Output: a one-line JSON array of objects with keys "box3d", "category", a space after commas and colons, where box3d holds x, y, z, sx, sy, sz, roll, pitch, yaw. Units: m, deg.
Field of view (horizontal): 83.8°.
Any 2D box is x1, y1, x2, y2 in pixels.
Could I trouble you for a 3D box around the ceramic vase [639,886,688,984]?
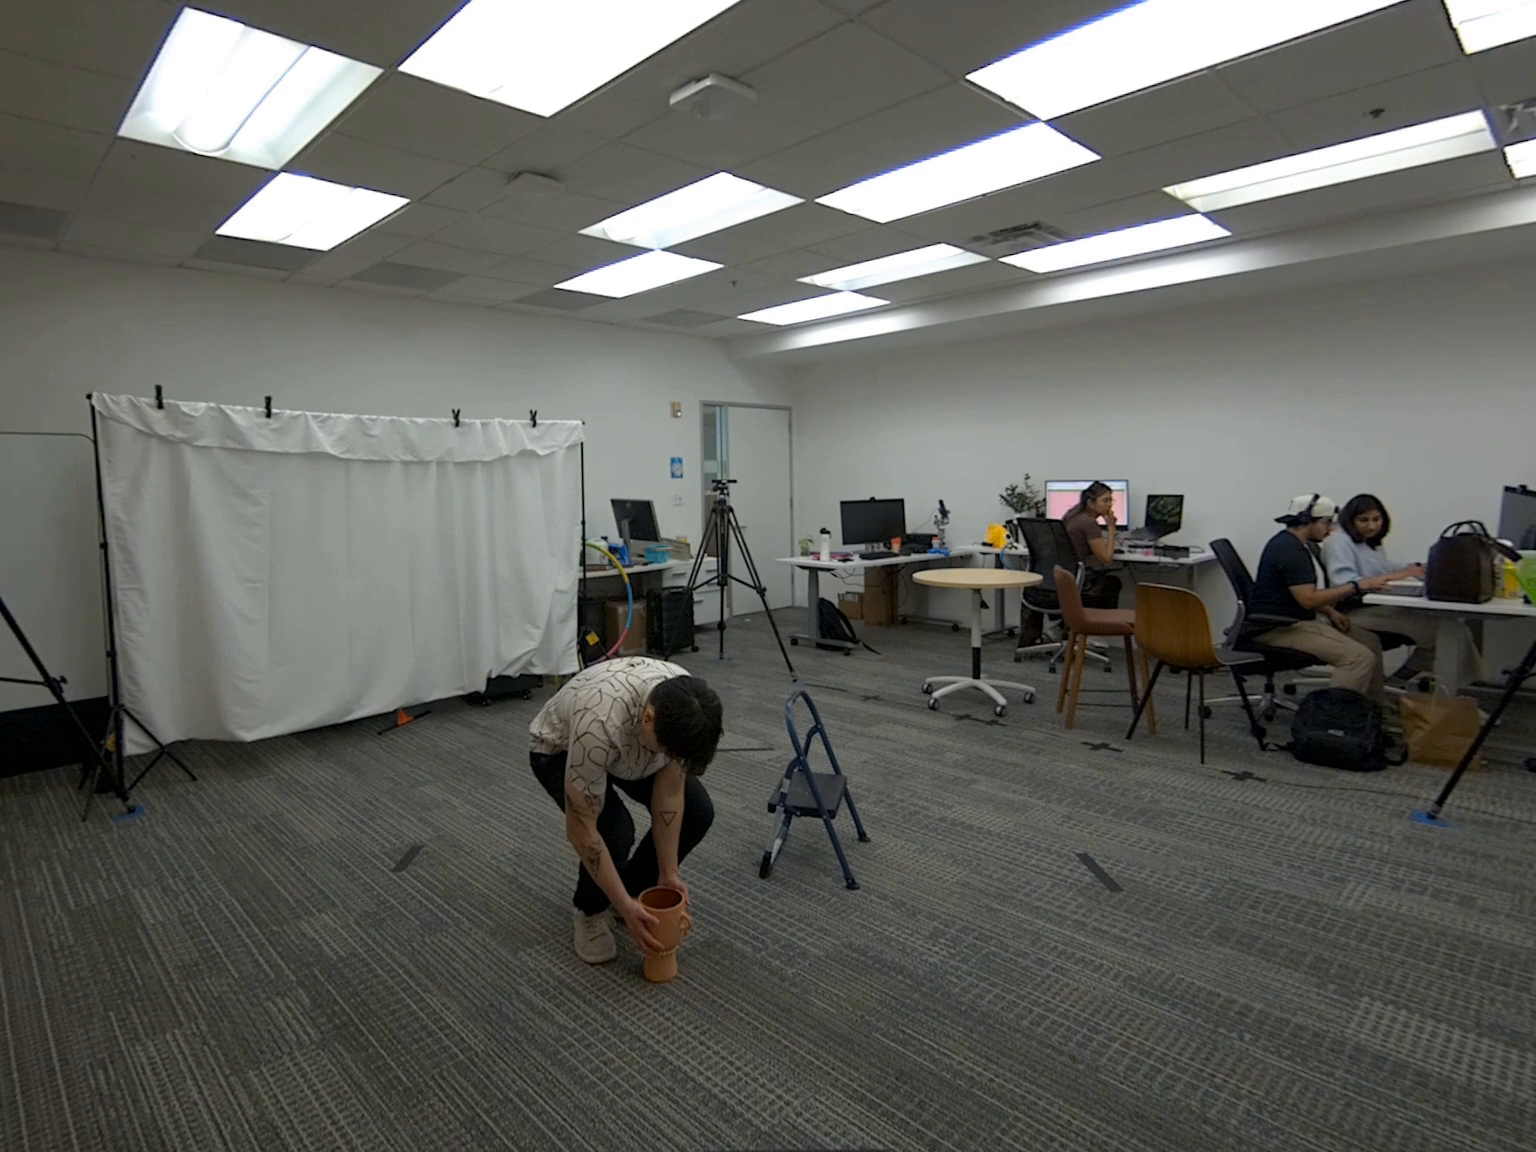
[{"box3d": [-0.303, 1.015, 2.421, 0.131, 0.219, 0.163, -2, 7, -28], "category": "ceramic vase"}]
